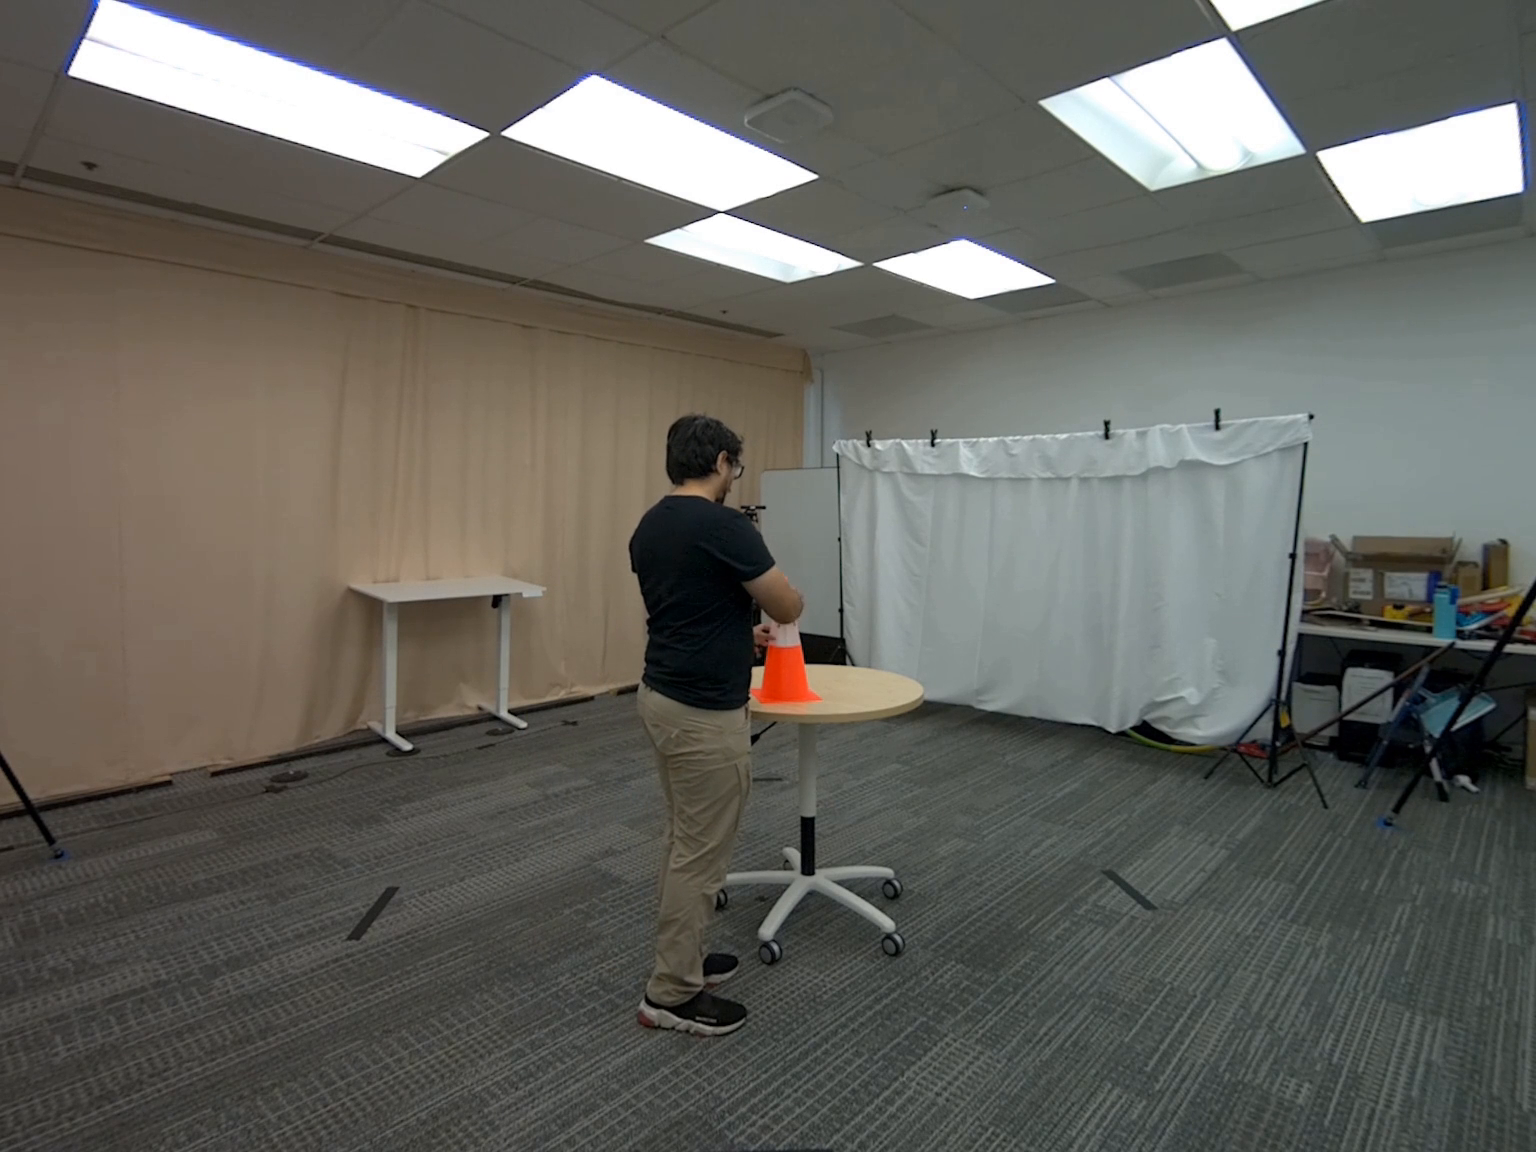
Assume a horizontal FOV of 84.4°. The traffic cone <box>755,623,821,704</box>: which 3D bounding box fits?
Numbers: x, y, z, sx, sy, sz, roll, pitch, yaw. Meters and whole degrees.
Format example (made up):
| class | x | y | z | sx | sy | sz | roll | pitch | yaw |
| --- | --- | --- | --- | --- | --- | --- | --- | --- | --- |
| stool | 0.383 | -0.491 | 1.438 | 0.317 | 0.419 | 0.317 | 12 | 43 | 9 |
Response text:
| class | x | y | z | sx | sy | sz | roll | pitch | yaw |
| --- | --- | --- | --- | --- | --- | --- | --- | --- | --- |
| traffic cone | 0.054 | 0.198 | 2.694 | 0.200 | 0.383 | 0.208 | -2 | 2 | -14 |
